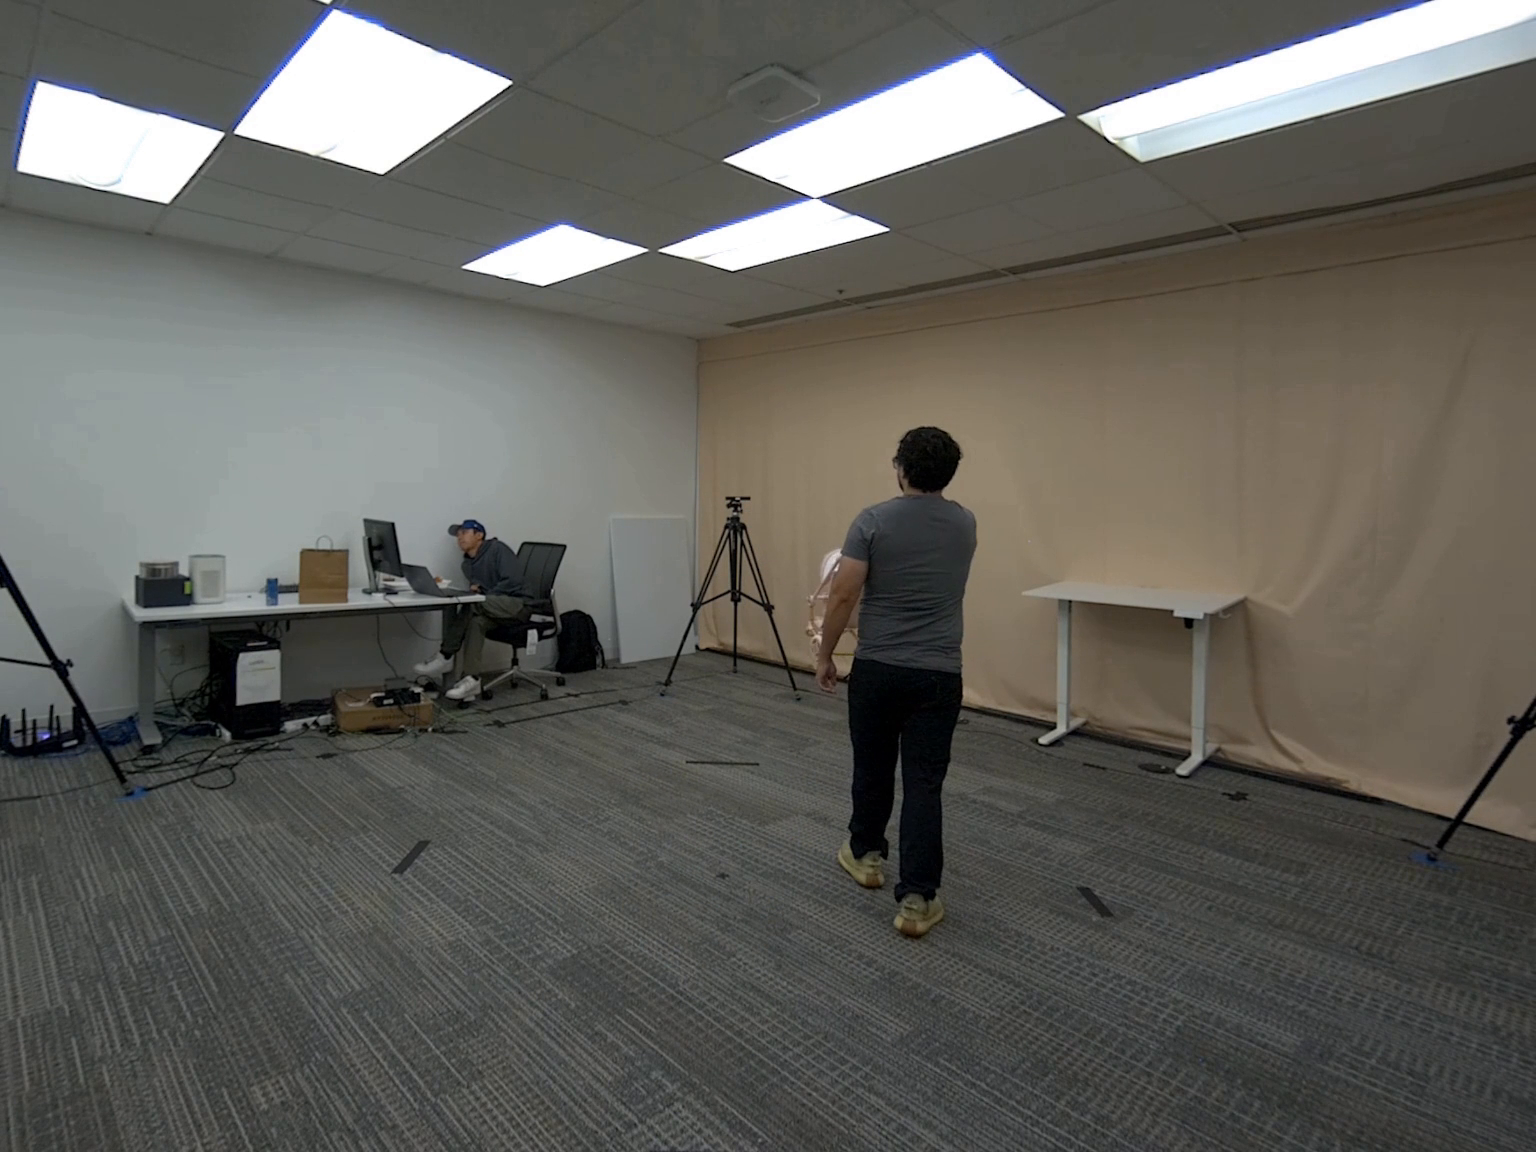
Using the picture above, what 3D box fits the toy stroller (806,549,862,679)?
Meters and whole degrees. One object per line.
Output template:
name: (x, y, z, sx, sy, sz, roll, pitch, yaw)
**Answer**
toy stroller: (0.304, 0.127, 3.601, 0.278, 0.531, 0.348, 3, 11, -17)
